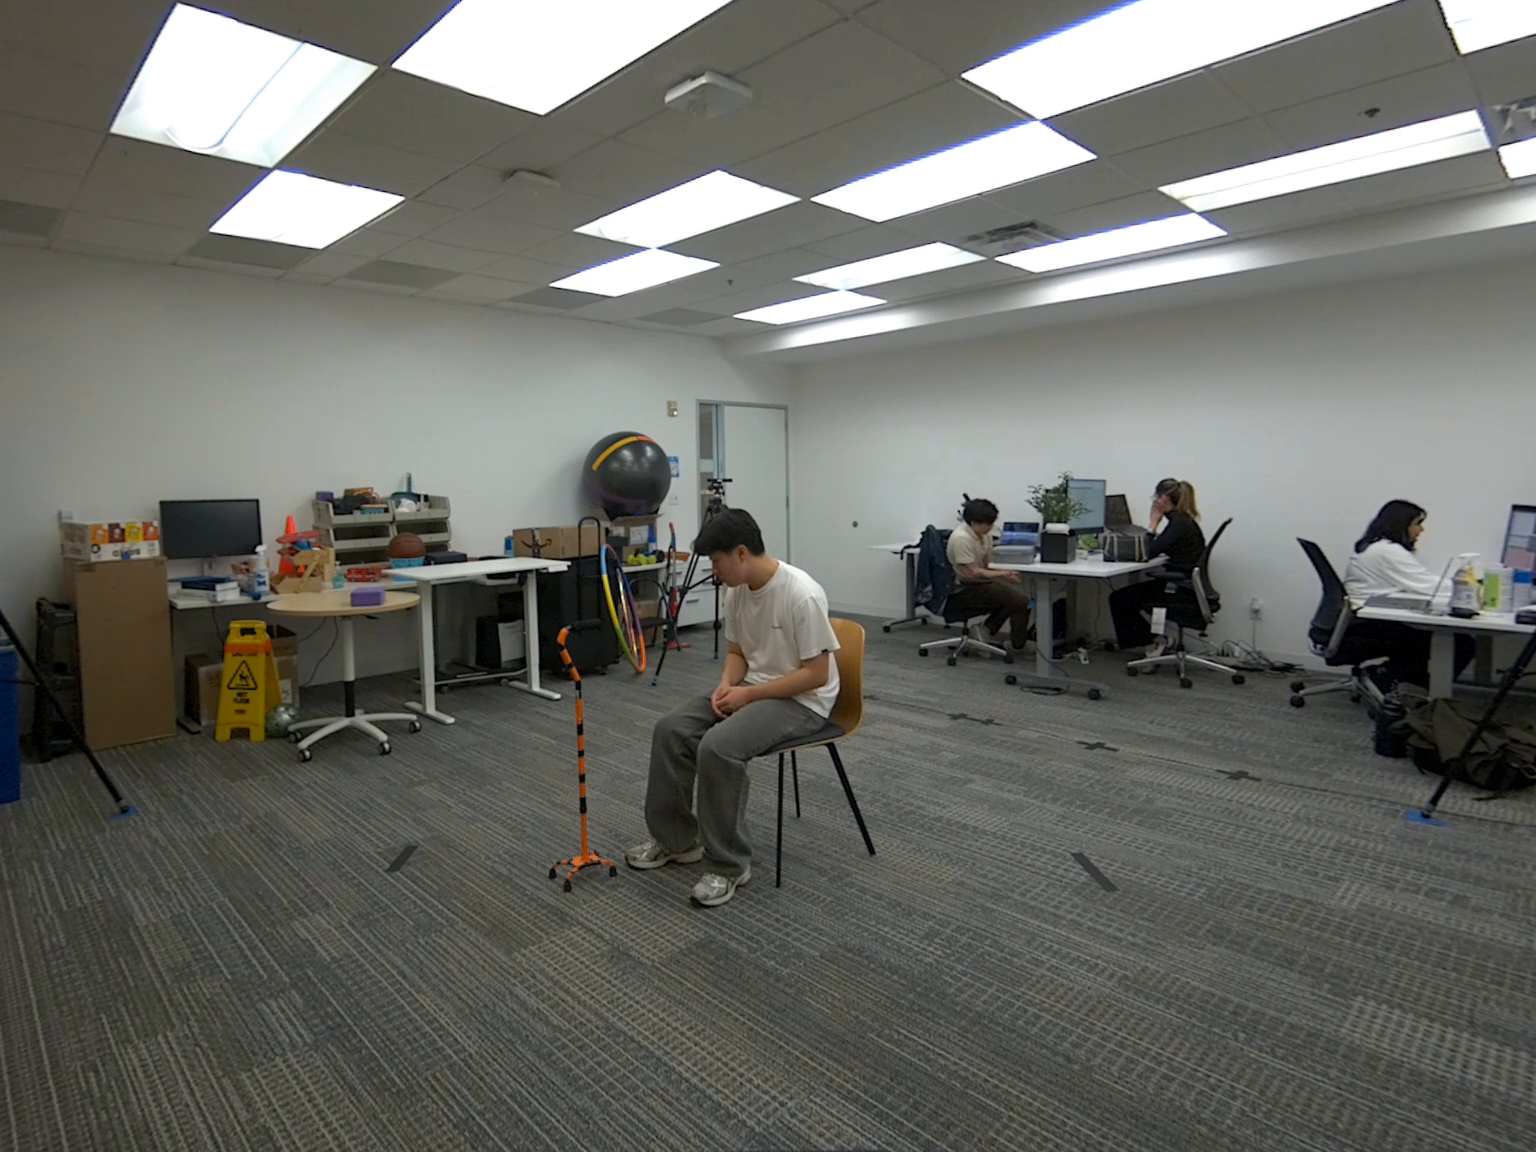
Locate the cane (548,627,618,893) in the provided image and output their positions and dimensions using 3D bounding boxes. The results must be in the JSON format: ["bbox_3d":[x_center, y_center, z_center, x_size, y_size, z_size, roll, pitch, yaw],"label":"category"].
[{"bbox_3d":[-0.667,0.612,3.008,0.201,0.905,0.156,-5,5,-39],"label":"cane"}]
